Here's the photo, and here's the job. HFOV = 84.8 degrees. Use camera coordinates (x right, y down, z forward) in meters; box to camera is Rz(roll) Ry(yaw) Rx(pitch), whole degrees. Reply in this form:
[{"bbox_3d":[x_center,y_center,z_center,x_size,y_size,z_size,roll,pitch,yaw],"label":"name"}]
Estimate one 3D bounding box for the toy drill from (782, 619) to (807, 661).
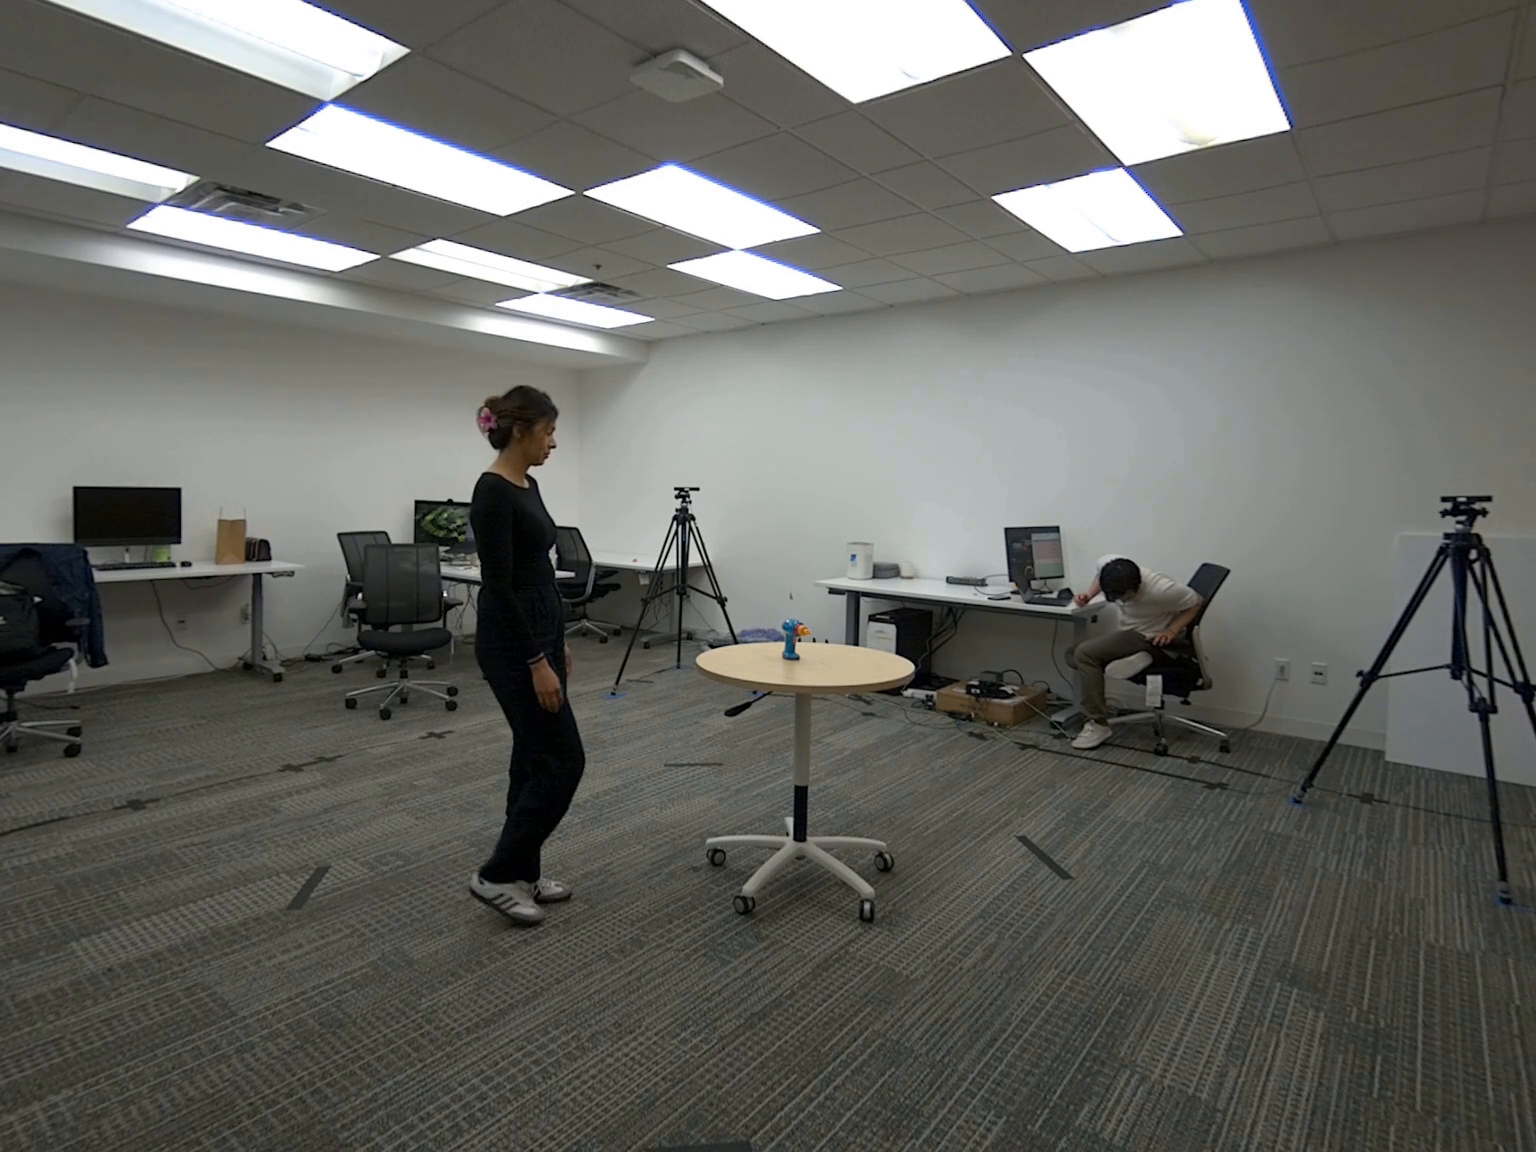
[{"bbox_3d":[0.099,0.229,3.011,0.059,0.145,0.175,0,5,-28],"label":"toy drill"}]
